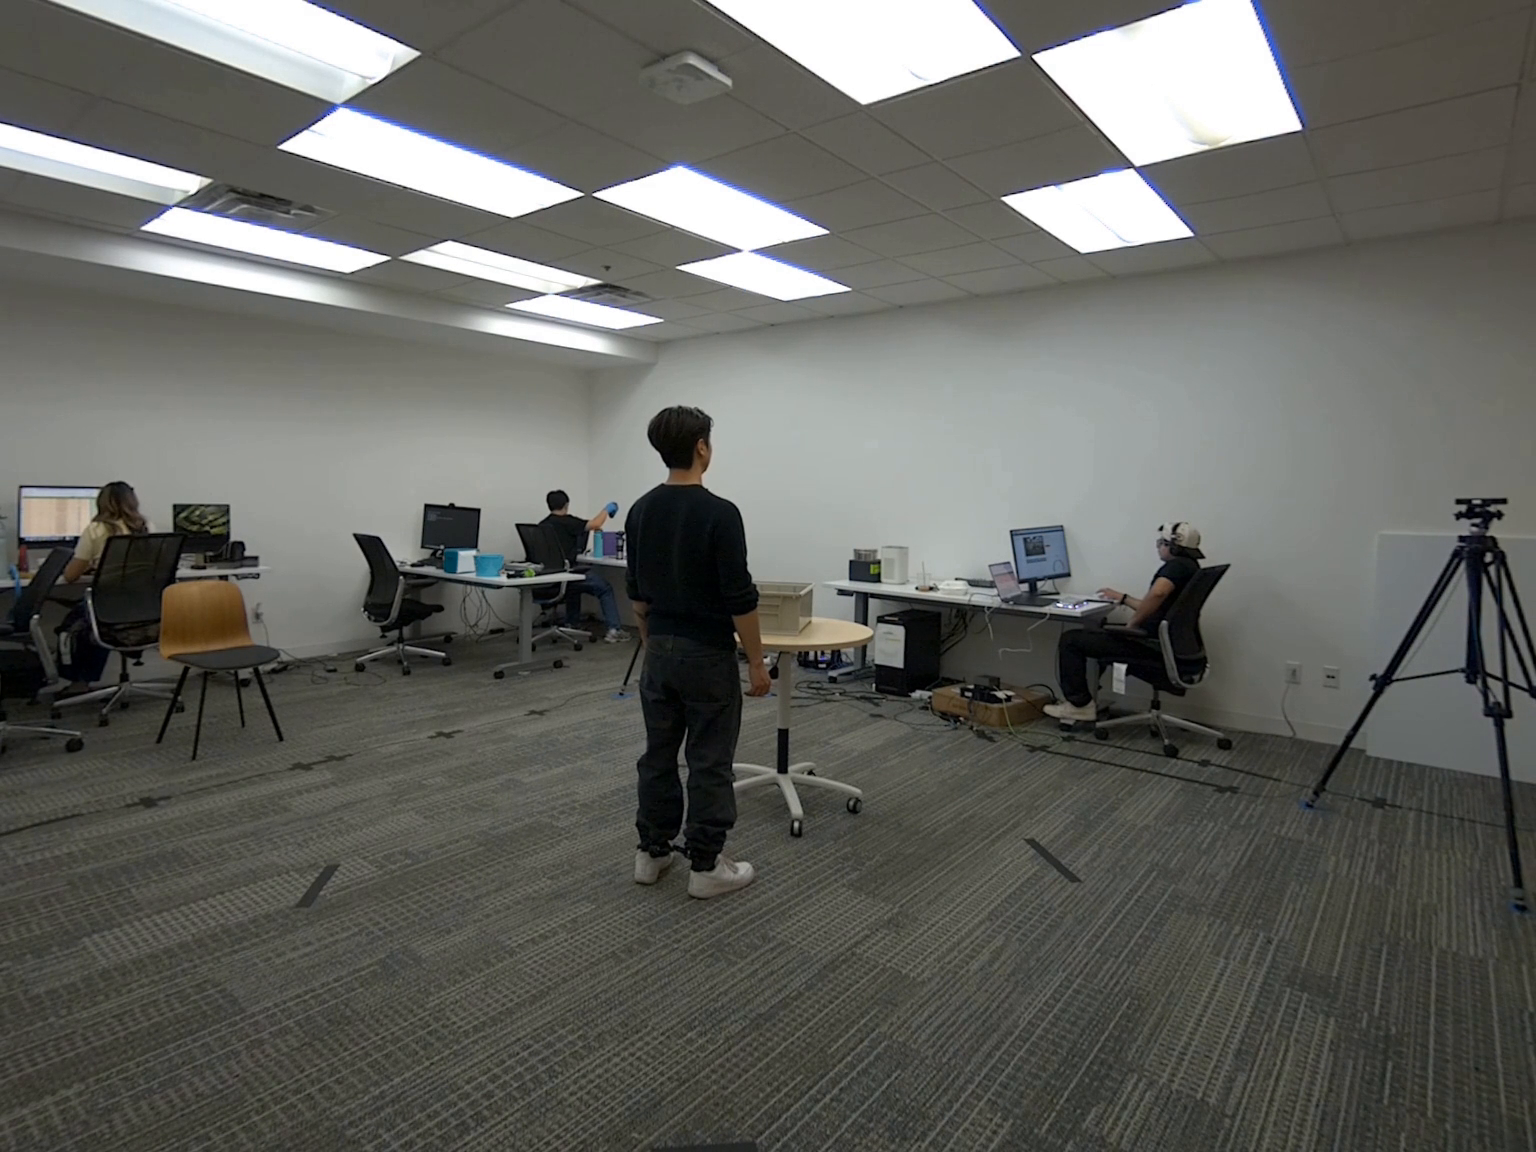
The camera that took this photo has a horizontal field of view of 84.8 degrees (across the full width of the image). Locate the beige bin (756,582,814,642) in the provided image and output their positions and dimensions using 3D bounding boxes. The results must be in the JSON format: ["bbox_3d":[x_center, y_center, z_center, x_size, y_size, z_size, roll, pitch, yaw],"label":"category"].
[{"bbox_3d":[-0.013,0.134,3.805,0.383,0.188,0.418,3,6,13],"label":"beige bin"}]
